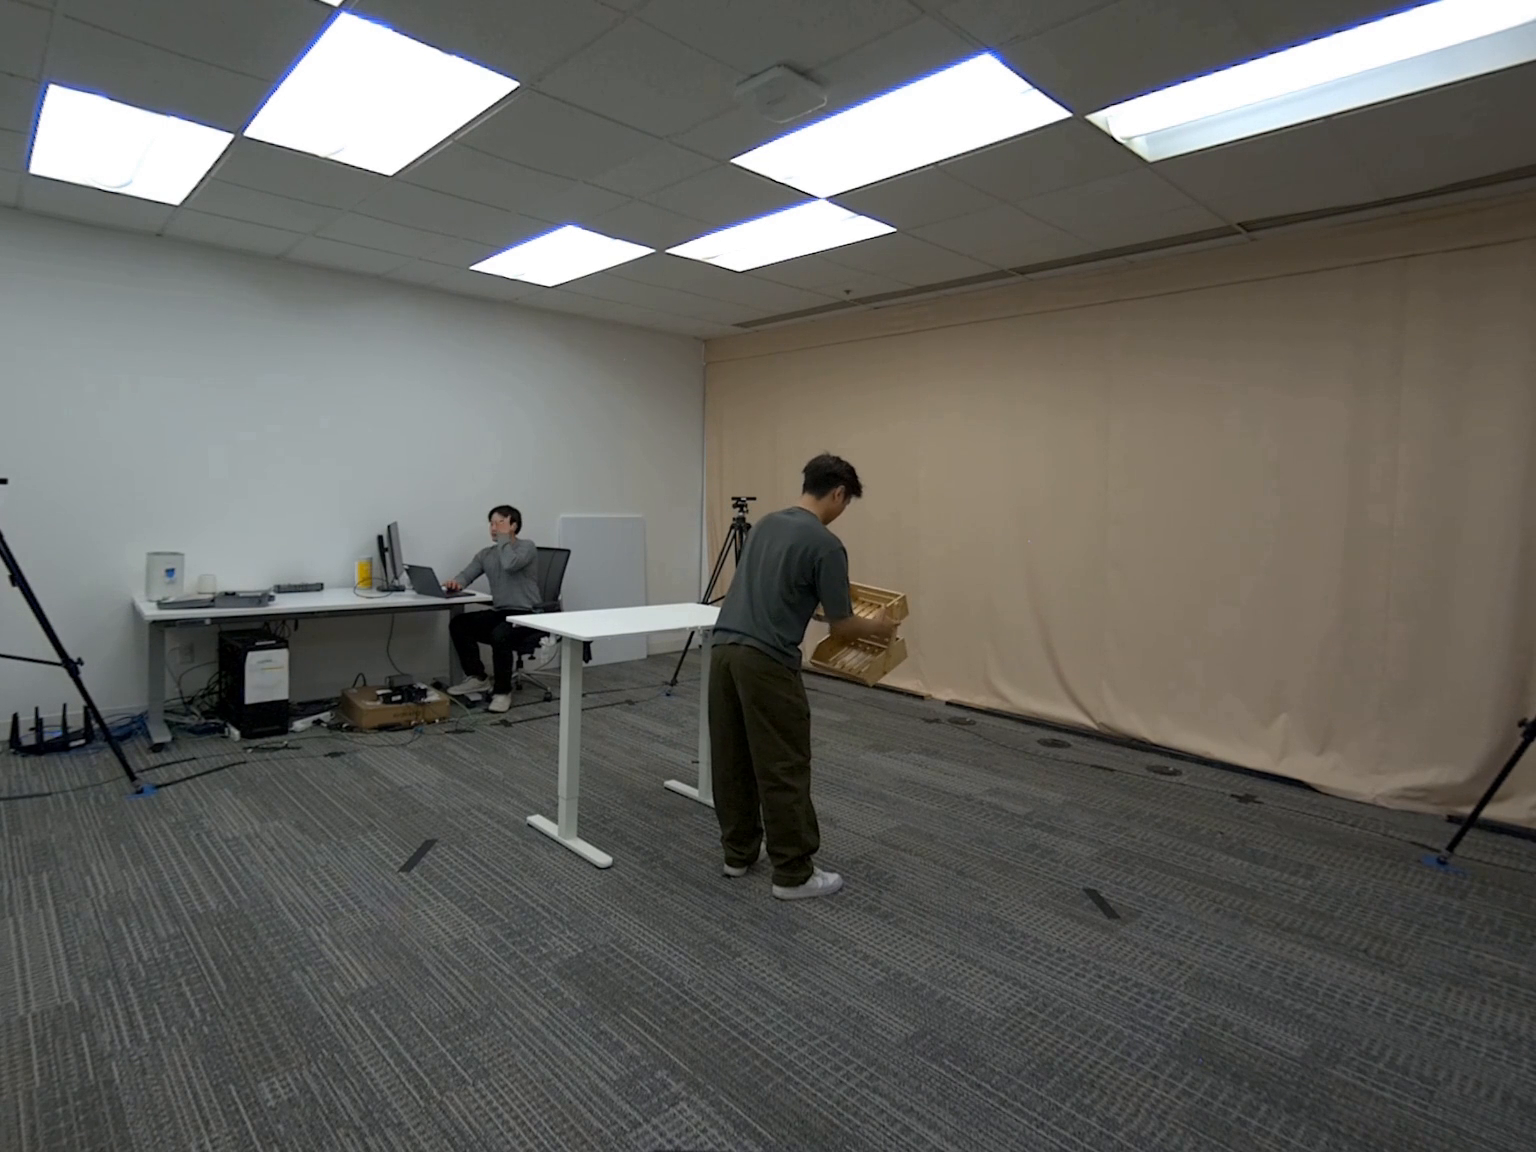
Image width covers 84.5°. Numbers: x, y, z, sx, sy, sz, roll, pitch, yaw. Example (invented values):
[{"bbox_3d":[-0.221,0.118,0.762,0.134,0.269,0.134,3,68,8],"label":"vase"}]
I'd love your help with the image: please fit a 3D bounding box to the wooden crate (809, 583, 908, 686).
[{"bbox_3d":[0.347,0.220,3.339,0.299,0.268,0.333,-28,27,-35],"label":"wooden crate"}]
